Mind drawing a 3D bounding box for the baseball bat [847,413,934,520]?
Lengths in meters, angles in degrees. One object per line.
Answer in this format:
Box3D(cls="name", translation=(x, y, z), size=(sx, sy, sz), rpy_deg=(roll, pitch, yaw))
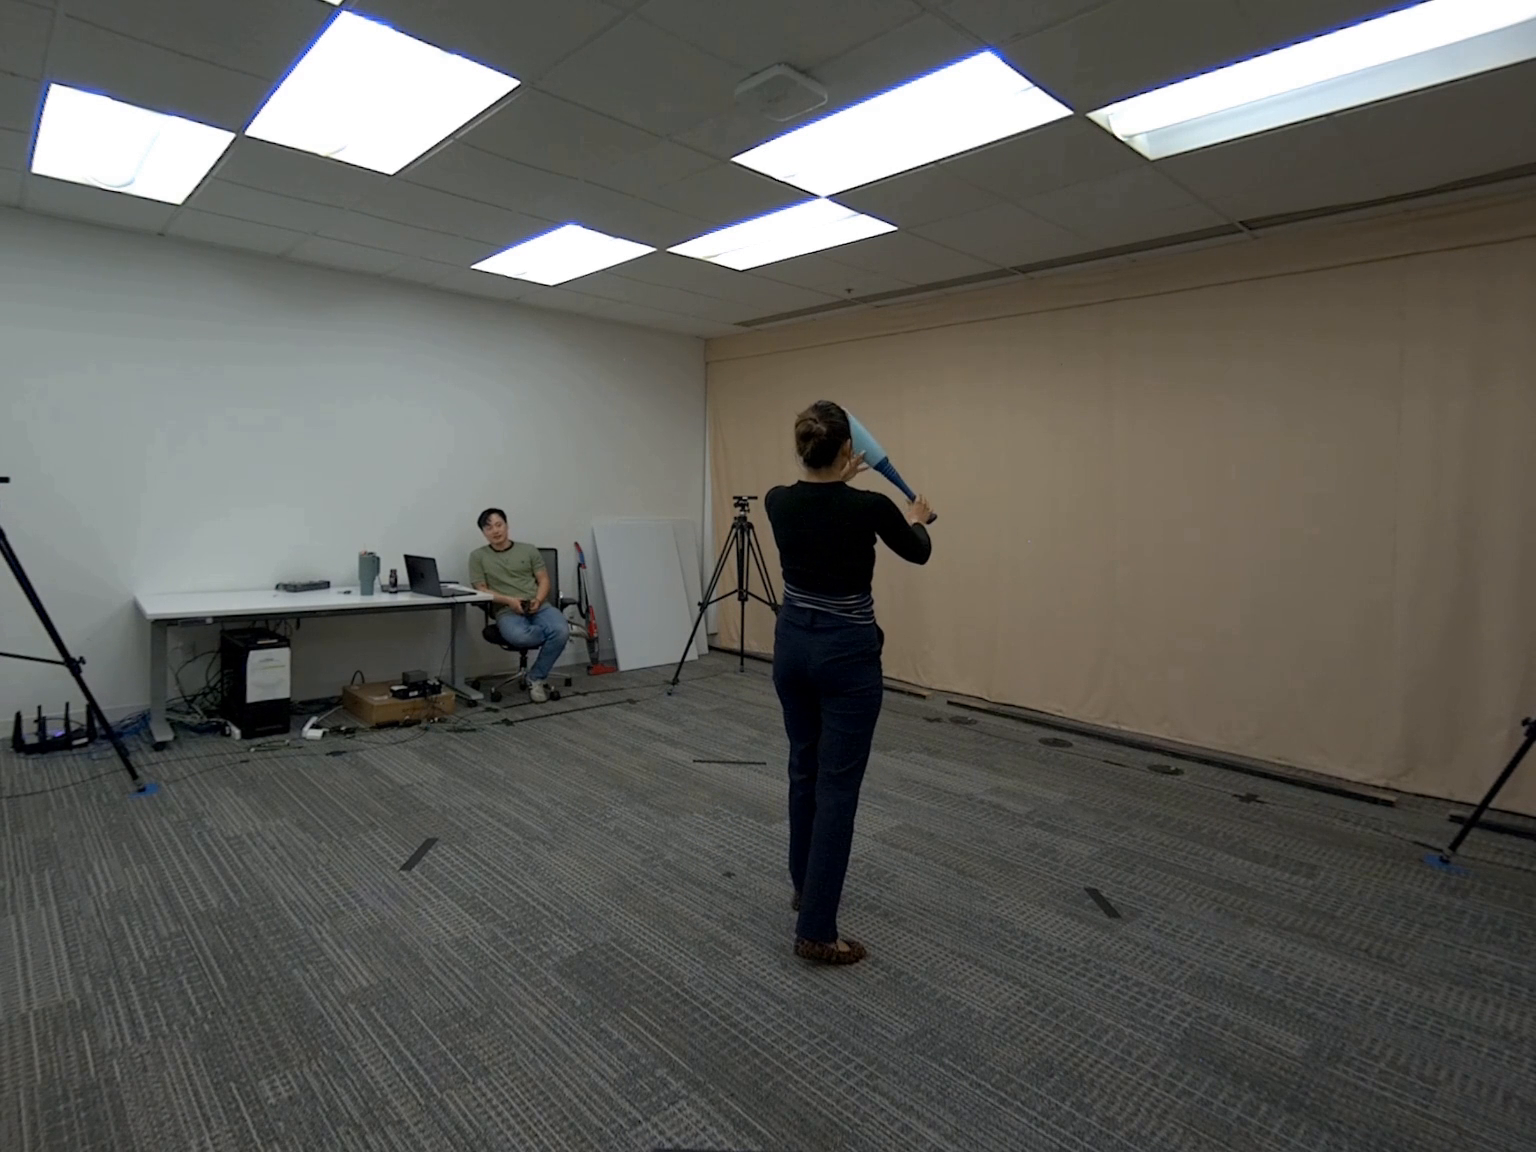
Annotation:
Box3D(cls="baseball bat", translation=(0.409, -0.409, 3.112), size=(0.089, 0.547, 0.088), rpy_deg=(-40, -7, -6))
